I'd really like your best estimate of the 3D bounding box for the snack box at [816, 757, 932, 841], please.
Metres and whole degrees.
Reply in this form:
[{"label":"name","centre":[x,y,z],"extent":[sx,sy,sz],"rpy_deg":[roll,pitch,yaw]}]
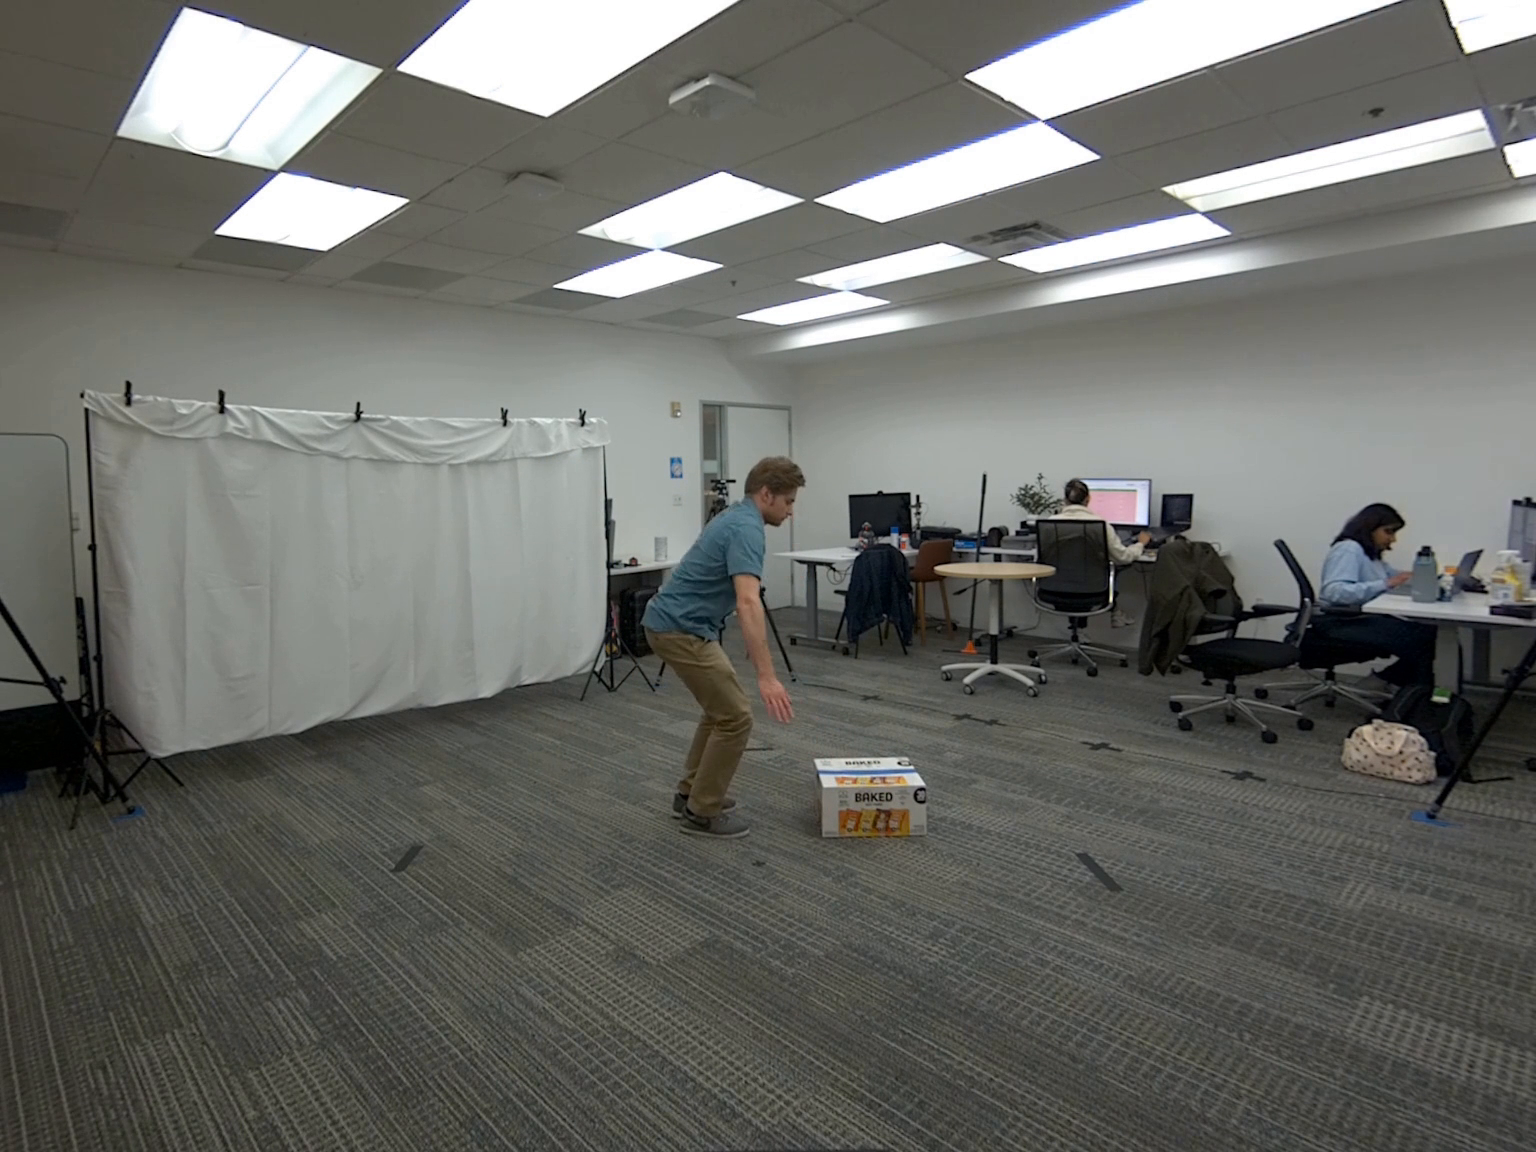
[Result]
[{"label":"snack box","centre":[0.418,0.896,3.483],"extent":[0.405,0.205,0.342],"rpy_deg":[-1,6,-1]}]
